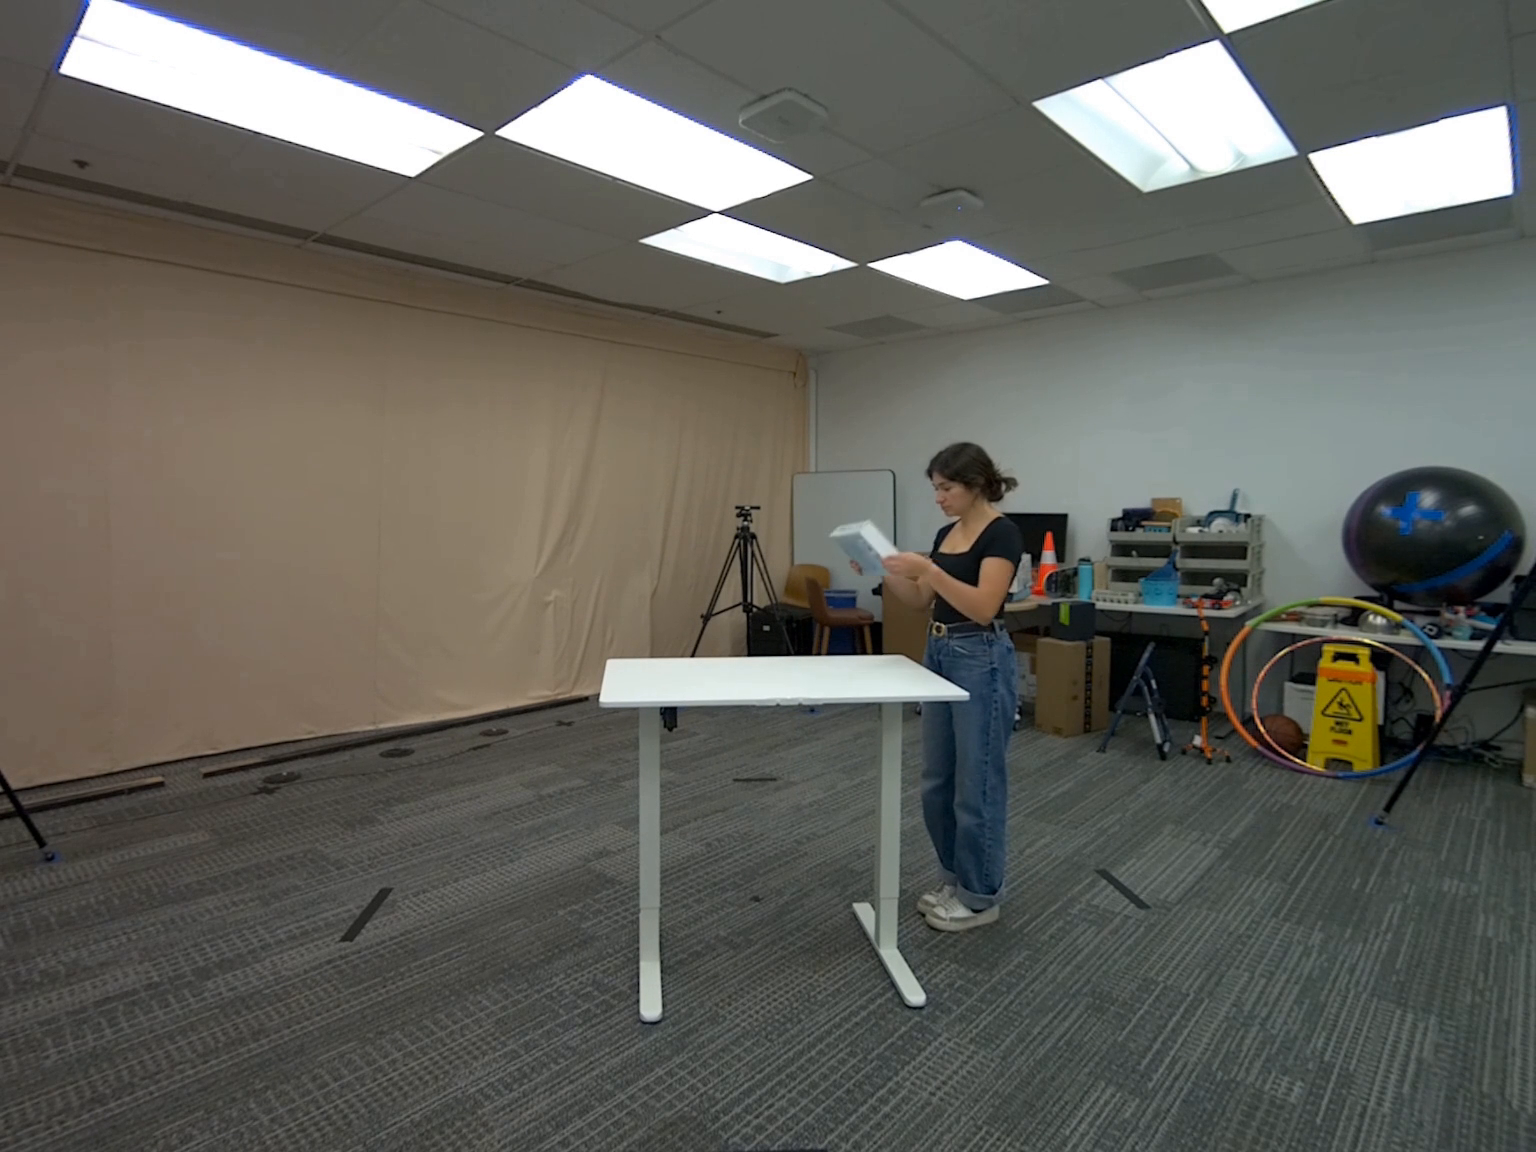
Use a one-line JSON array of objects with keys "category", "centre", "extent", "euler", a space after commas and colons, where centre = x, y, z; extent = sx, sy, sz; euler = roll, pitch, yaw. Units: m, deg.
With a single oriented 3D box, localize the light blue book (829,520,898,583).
[{"category": "light blue book", "centre": [0.344, -0.085, 2.748], "extent": [0.059, 0.190, 0.264], "euler": [-41, 7, -12]}]
